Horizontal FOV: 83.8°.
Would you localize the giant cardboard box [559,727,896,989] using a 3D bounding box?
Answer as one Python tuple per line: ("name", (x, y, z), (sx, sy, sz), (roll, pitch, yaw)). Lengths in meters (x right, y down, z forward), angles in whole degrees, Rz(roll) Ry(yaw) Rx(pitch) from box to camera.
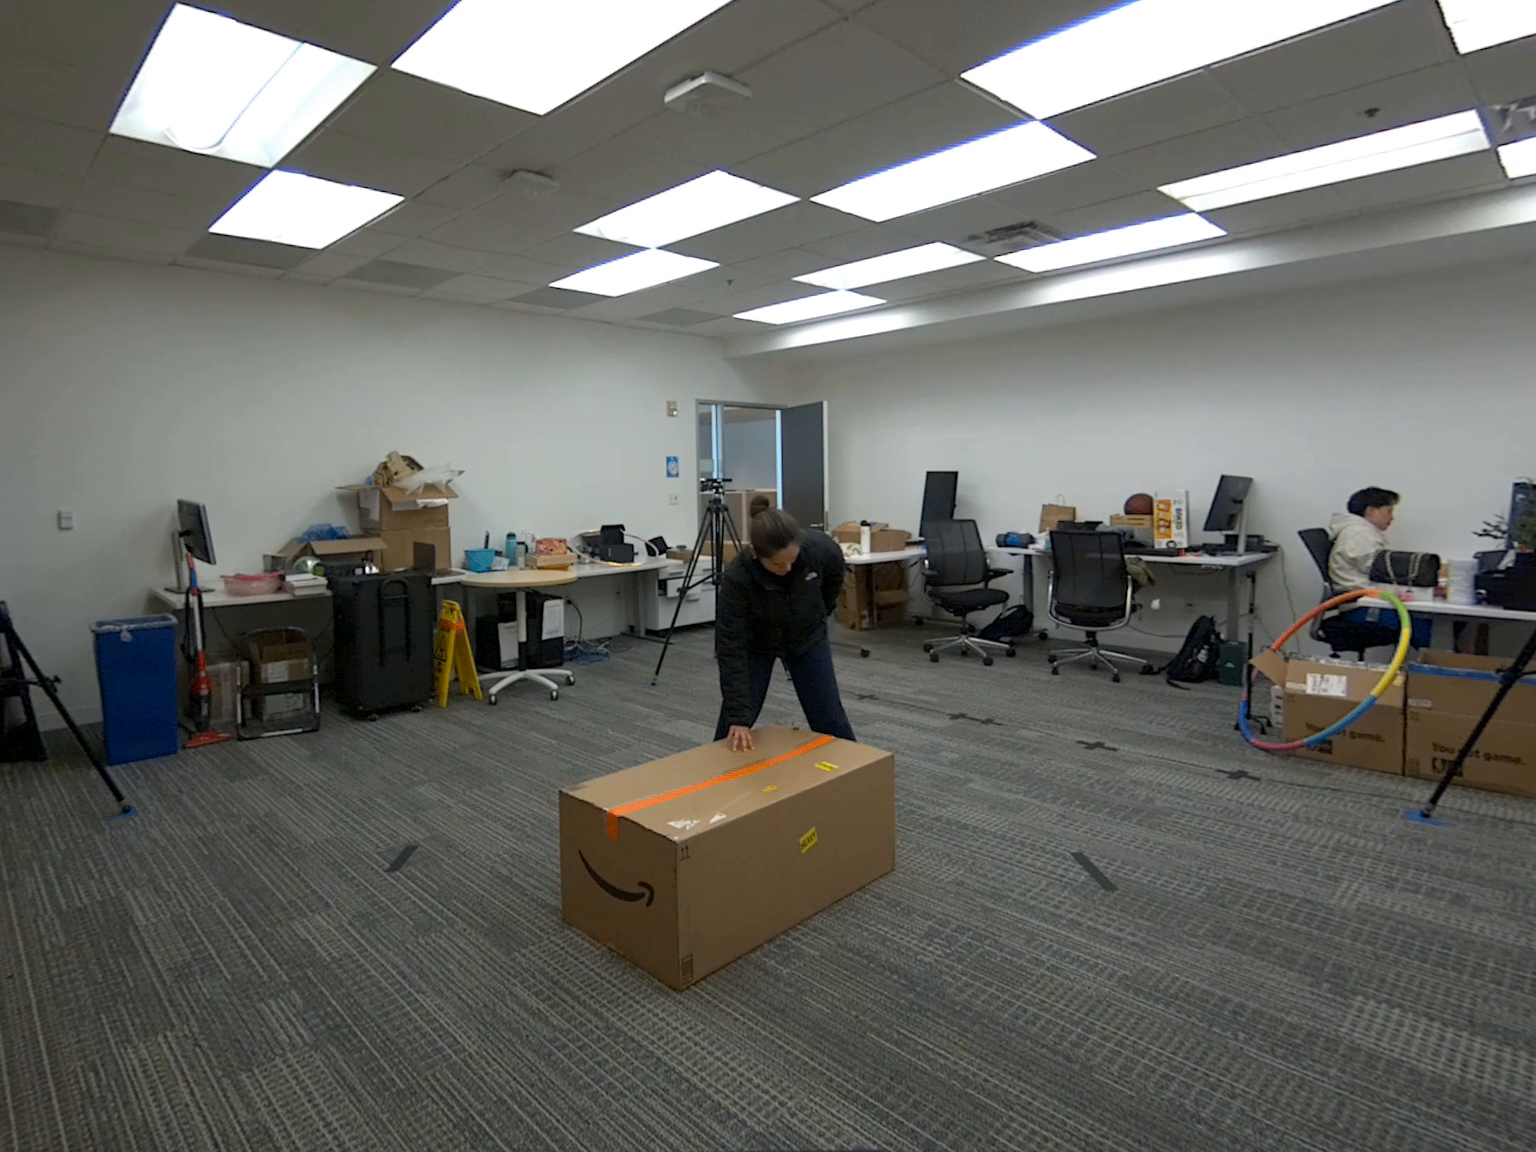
("giant cardboard box", (-0.107, 0.863, 2.884), (0.601, 0.445, 1.001), (3, 7, 44))
